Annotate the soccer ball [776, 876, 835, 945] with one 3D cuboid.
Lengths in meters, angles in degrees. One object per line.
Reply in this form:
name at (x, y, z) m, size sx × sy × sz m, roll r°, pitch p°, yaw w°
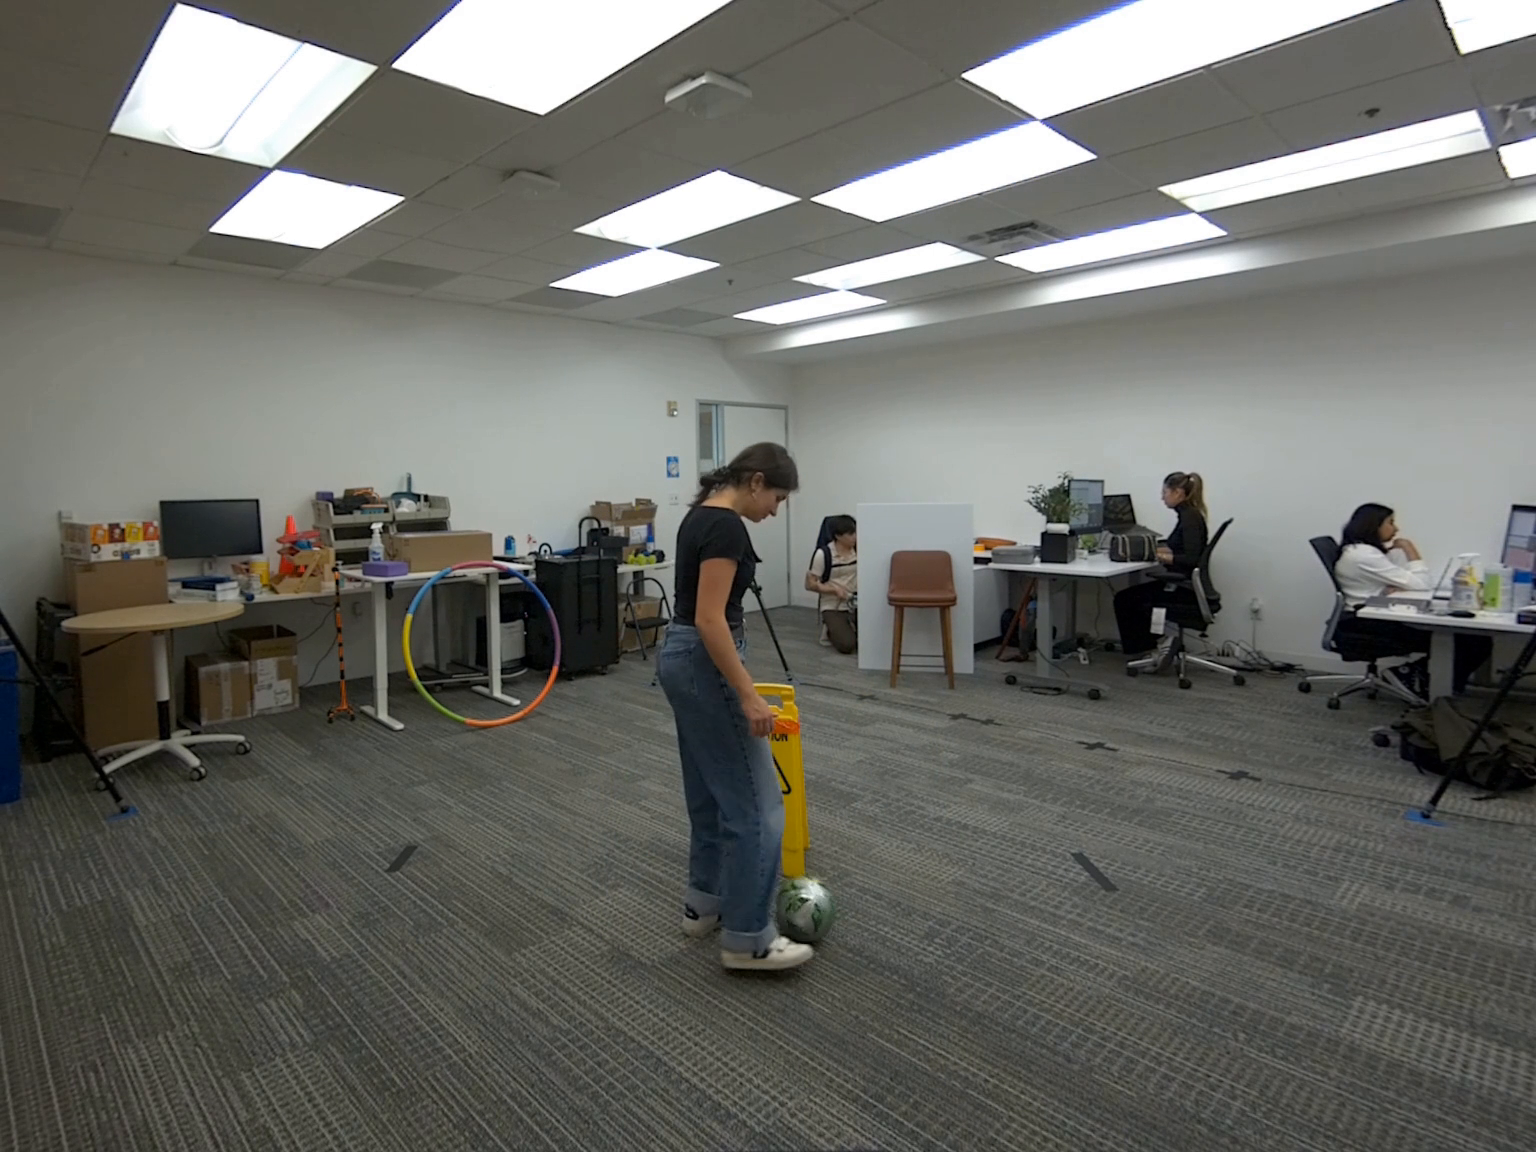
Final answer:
soccer ball at (0.103, 1.009, 2.597) m, size 0.187 × 0.187 × 0.188 m, roll -1°, pitch 5°, yaw -2°
